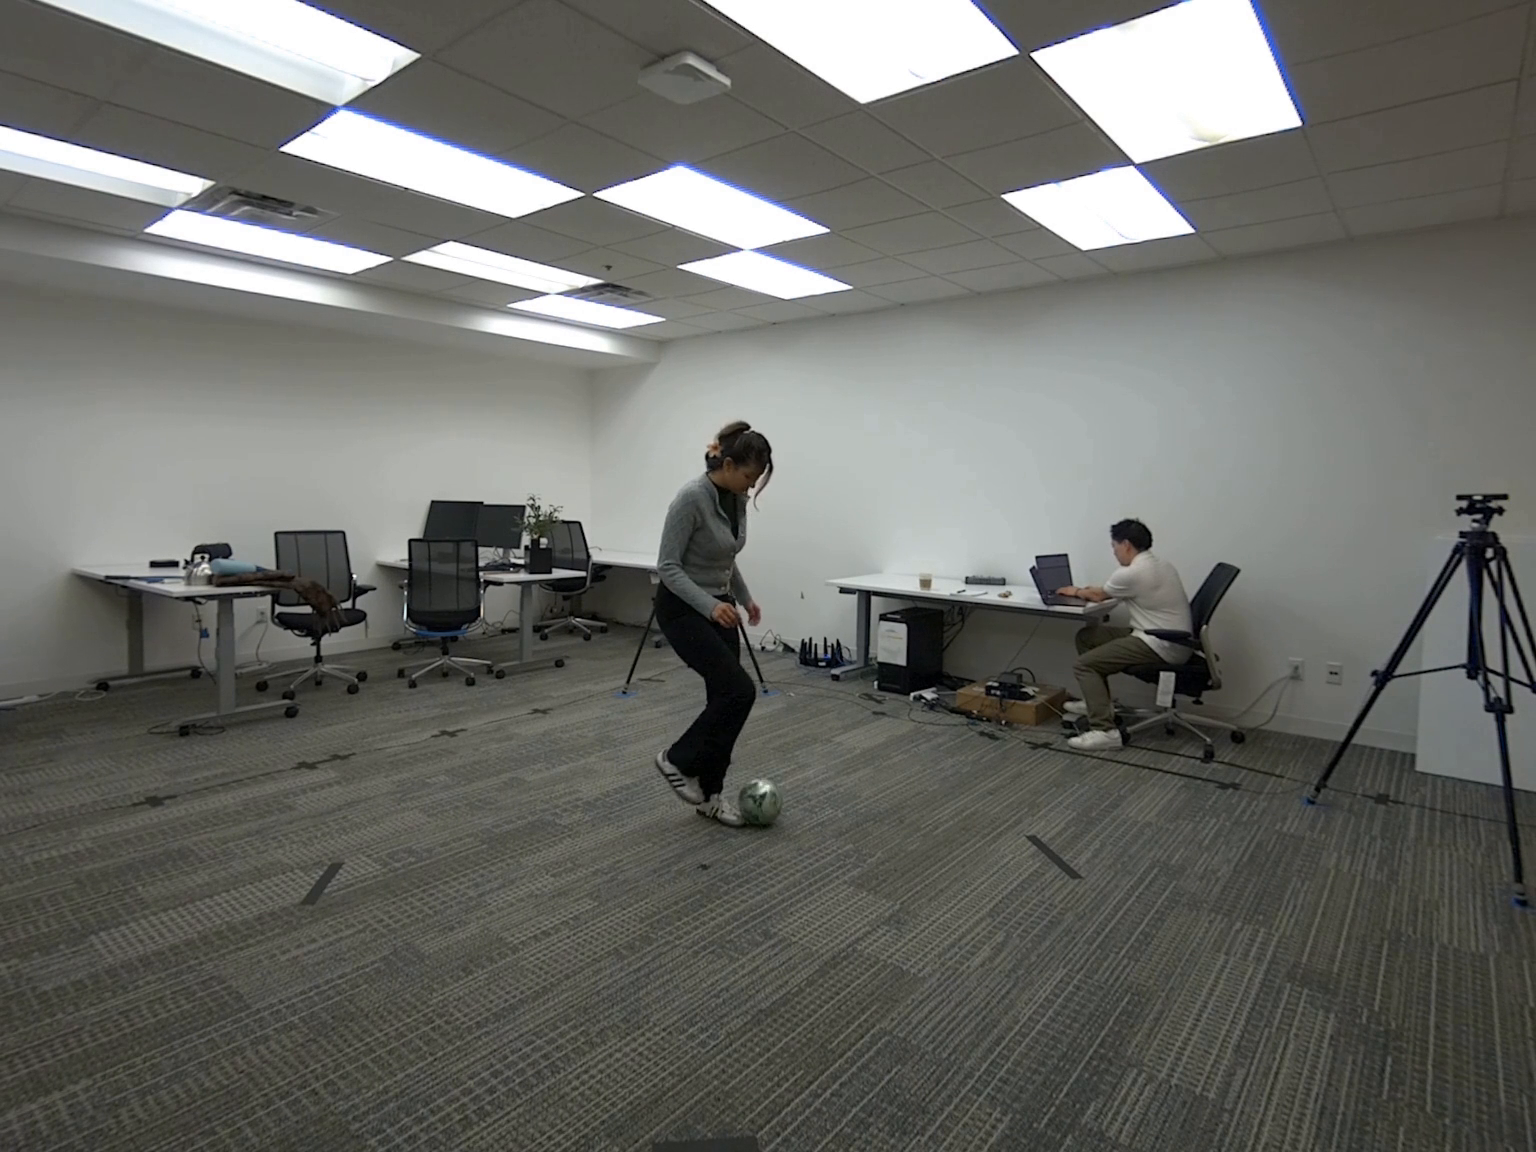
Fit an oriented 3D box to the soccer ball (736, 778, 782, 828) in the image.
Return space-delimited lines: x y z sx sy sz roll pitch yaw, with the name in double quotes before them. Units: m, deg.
"soccer ball" -0.023 0.931 3.521 0.187 0.187 0.188 1 4 -2
